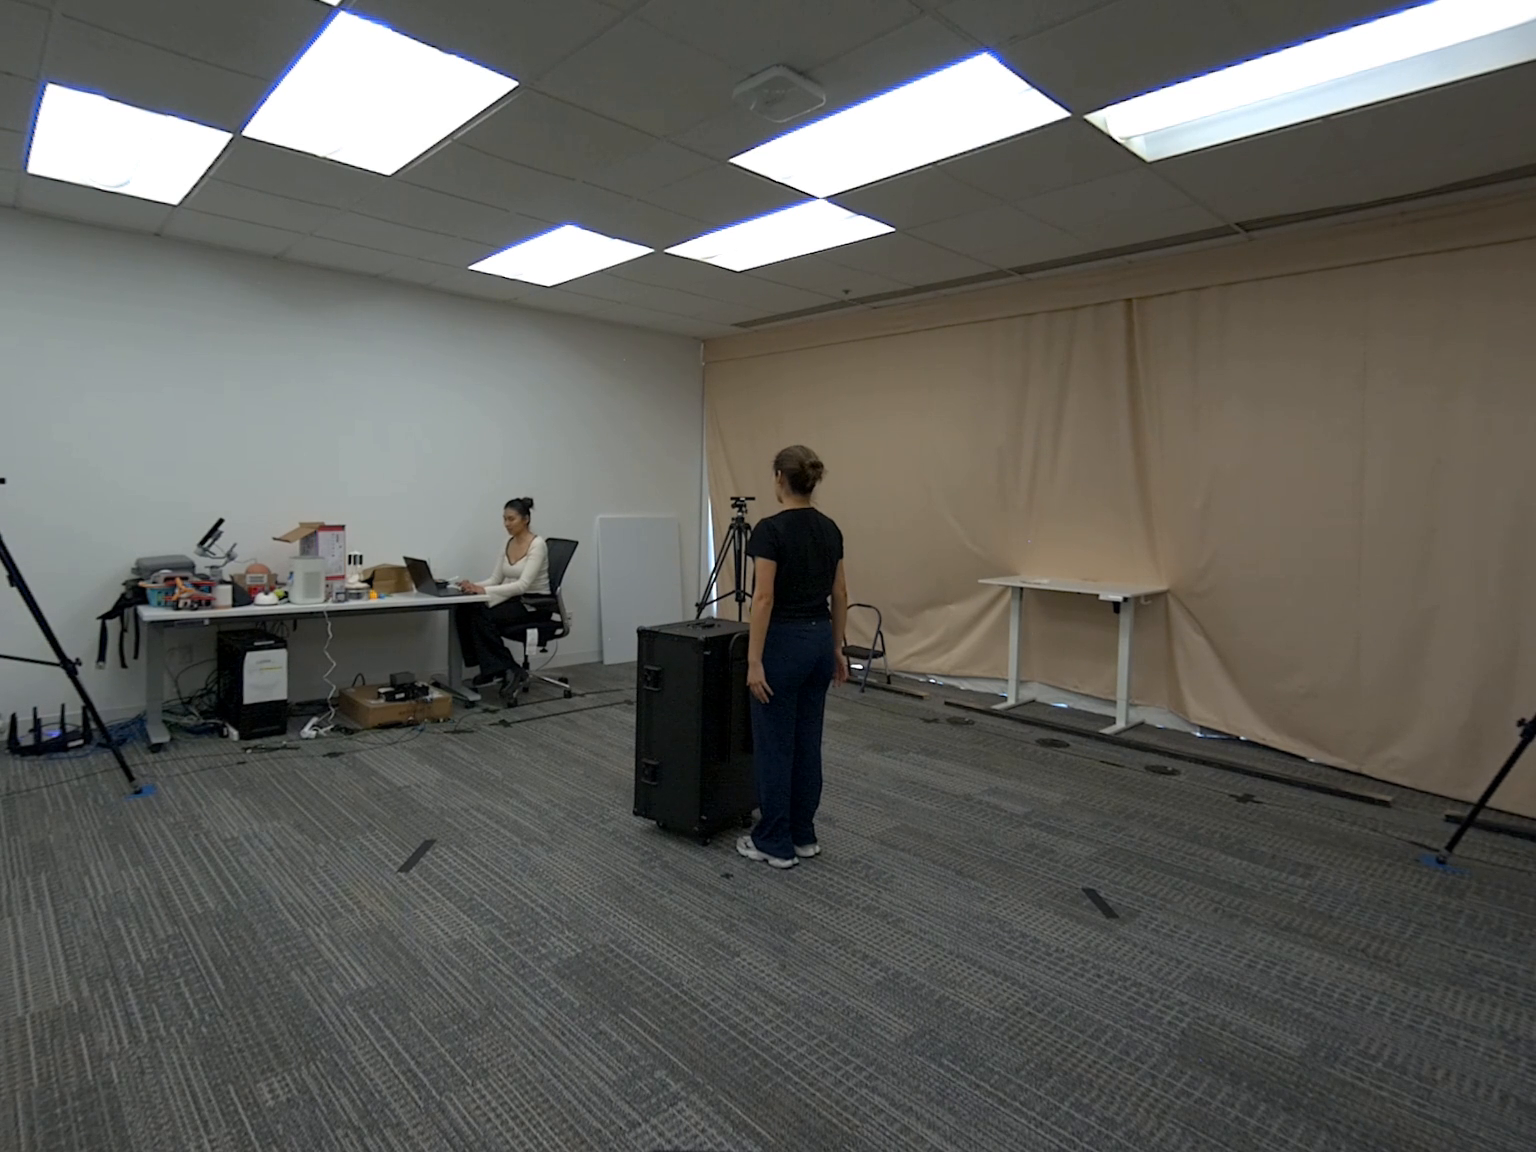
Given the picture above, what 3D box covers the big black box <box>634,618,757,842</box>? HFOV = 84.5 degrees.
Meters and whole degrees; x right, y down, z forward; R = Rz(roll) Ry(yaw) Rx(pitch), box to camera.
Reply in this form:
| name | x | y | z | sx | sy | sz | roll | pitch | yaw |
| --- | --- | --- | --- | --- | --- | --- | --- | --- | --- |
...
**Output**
| name | x | y | z | sx | sy | sz | roll | pitch | yaw |
| --- | --- | --- | --- | --- | --- | --- | --- | --- | --- |
| big black box | -0.266 | 0.585 | 3.543 | 0.406 | 0.860 | 0.510 | 4 | 3 | 36 |
